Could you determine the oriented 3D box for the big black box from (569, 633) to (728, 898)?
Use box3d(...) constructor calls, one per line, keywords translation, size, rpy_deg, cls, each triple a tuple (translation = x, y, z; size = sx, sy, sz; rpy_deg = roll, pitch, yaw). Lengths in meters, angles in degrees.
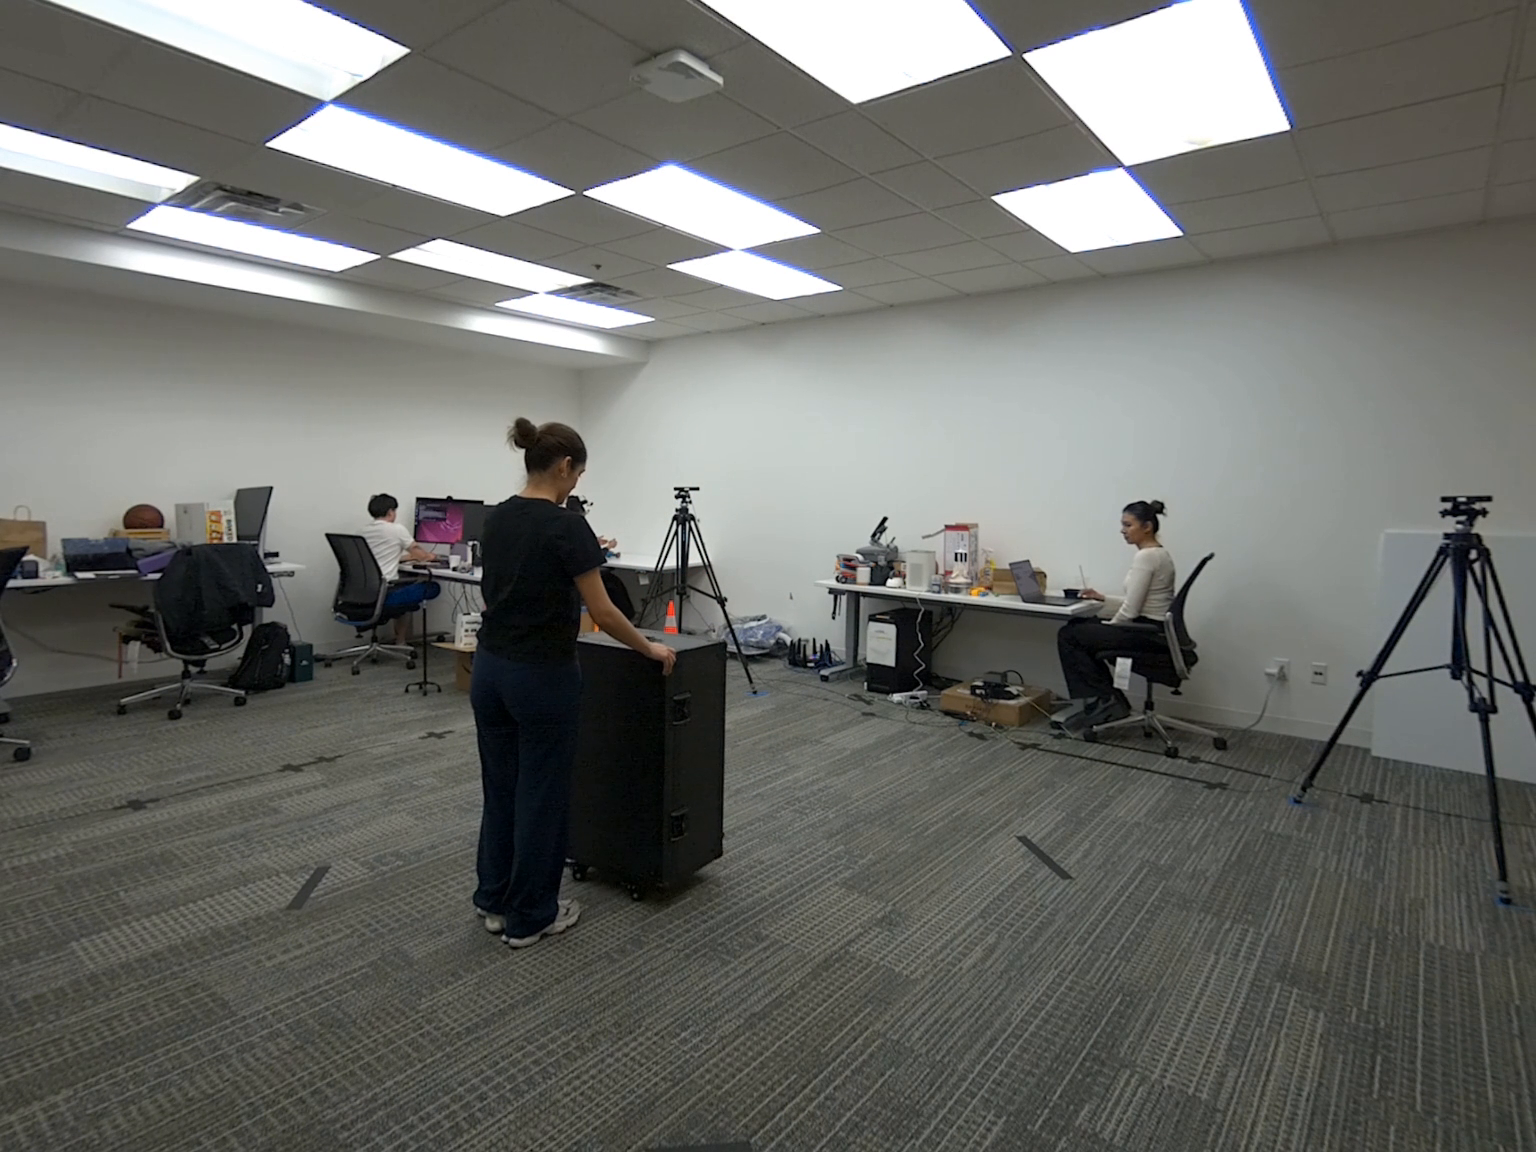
box3d(translation=(-0.437, 0.640, 3.050), size=(0.537, 0.860, 0.385), rpy_deg=(3, 2, 33), cls="big black box")
